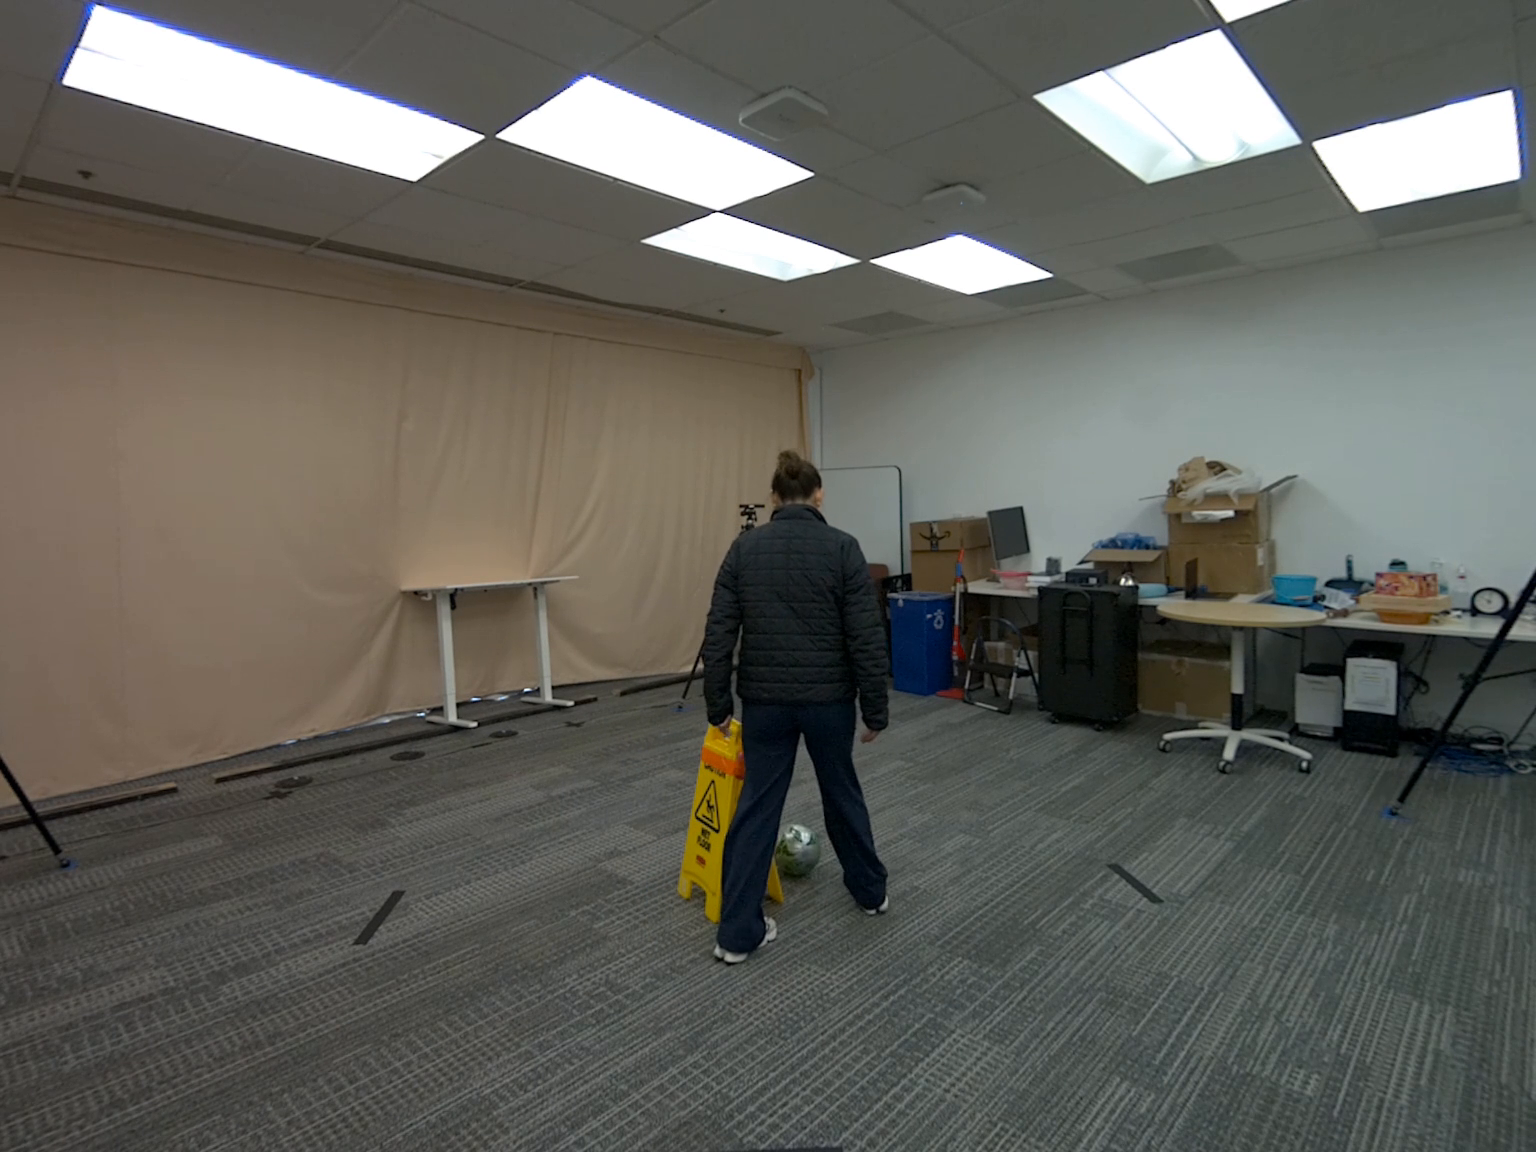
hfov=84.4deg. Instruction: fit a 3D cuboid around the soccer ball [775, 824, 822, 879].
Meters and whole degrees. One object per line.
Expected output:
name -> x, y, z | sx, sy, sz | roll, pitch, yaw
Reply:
soccer ball -> 0.109, 1.029, 3.162 | 0.187, 0.187, 0.188 | -1, 4, -2
